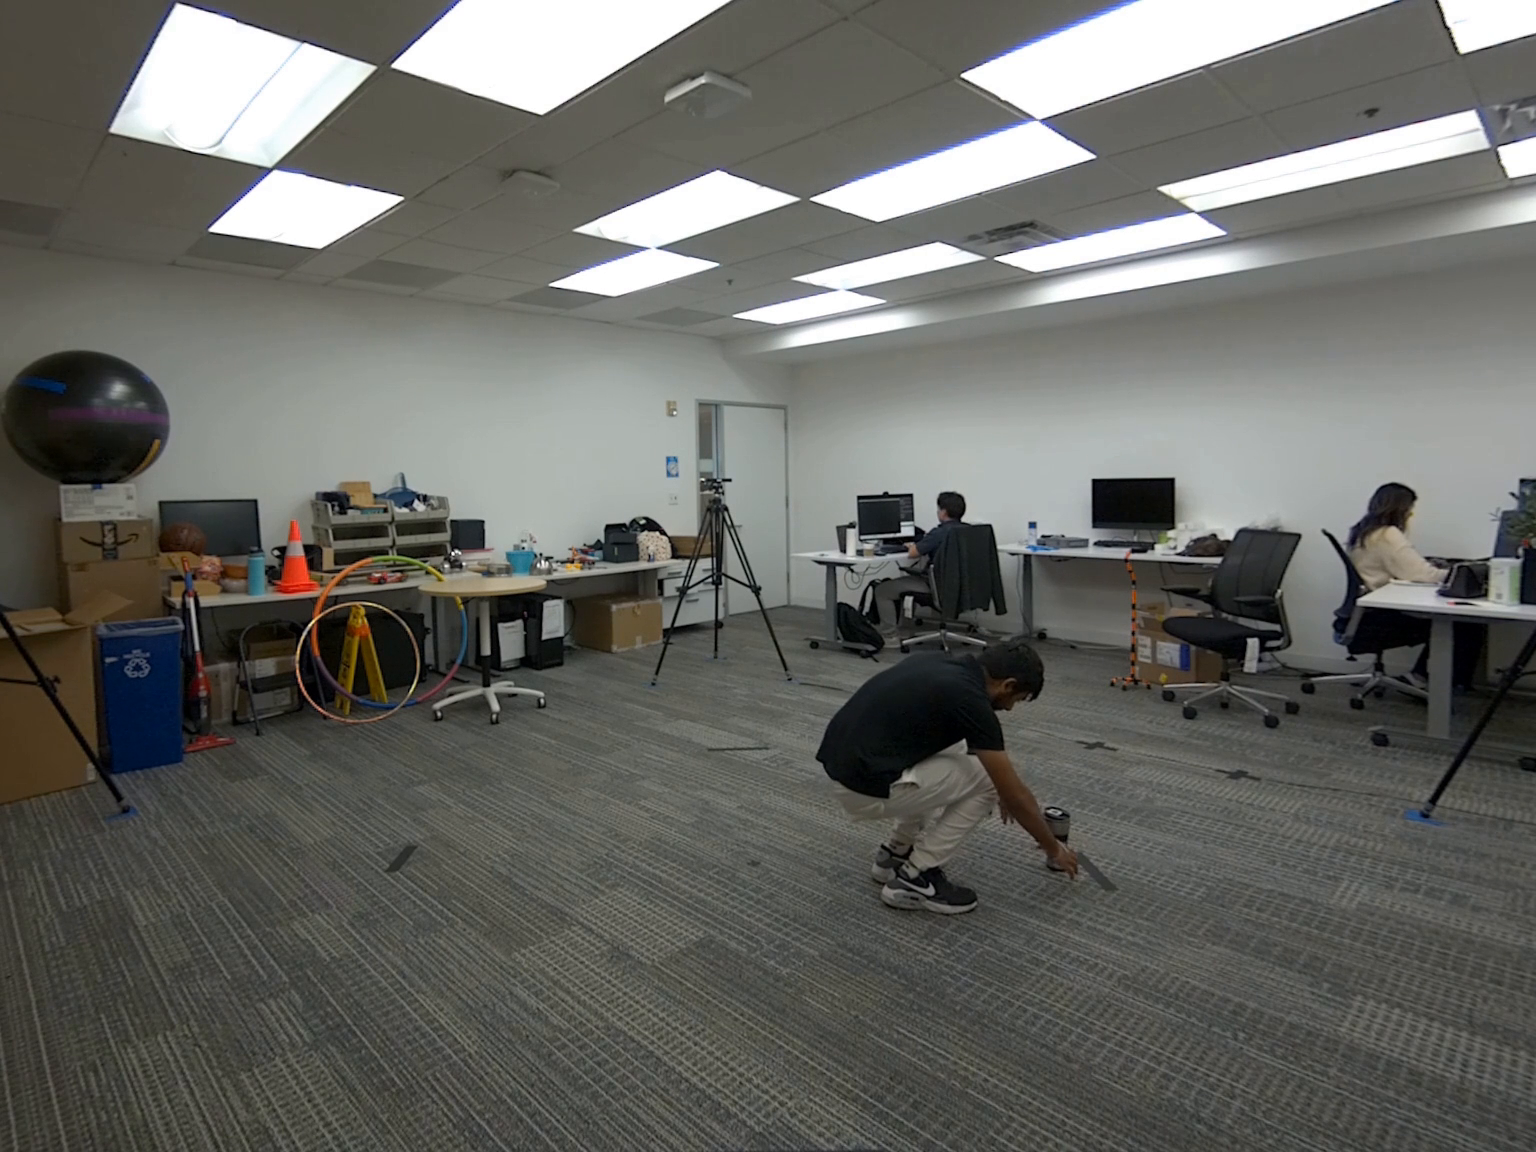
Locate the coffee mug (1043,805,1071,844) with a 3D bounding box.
[{"bbox_3d":[1.010,0.933,3.032,0.126,0.201,0.086,7,13,38],"label":"coffee mug"}]
